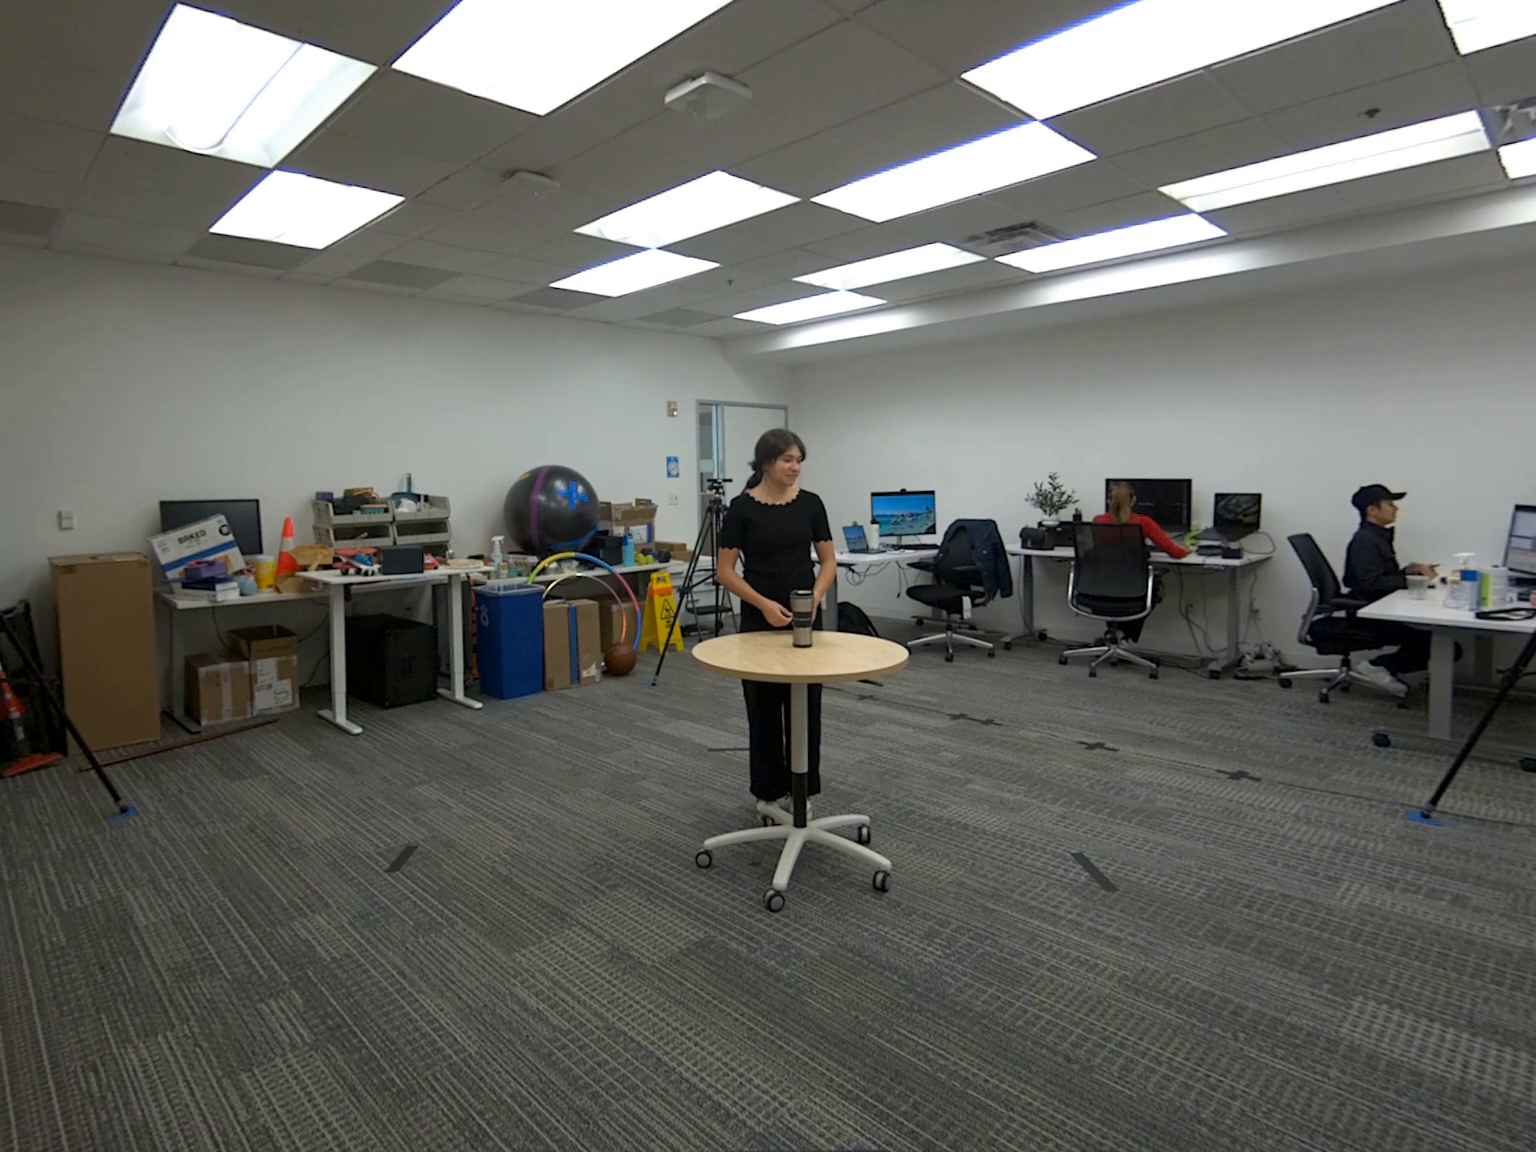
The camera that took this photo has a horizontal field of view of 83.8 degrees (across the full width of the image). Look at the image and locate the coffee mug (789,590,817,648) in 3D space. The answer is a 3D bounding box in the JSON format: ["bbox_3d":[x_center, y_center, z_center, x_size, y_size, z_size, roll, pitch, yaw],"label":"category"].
[{"bbox_3d":[0.142,0.162,3.127,0.119,0.203,0.090,-5,1,-41],"label":"coffee mug"}]
